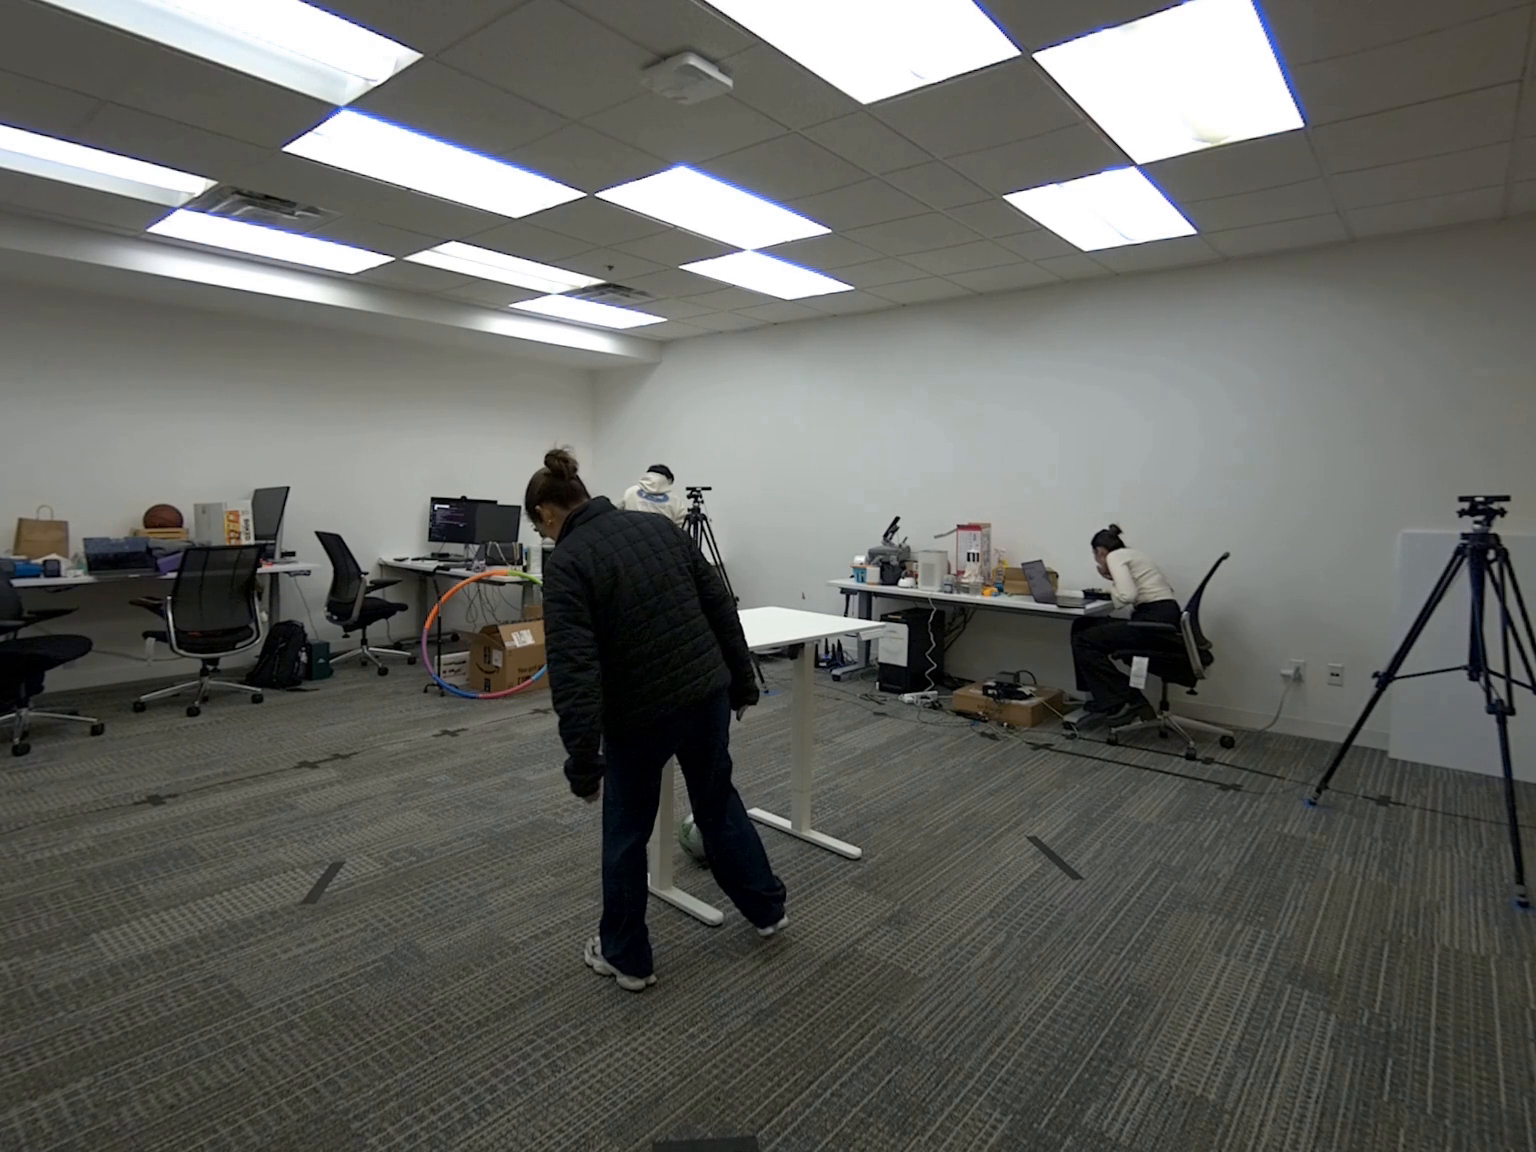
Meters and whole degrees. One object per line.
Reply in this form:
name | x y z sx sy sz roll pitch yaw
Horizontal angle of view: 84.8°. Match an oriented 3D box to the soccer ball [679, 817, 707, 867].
soccer ball | -0.251 0.957 3.184 0.187 0.187 0.188 1 4 -2
